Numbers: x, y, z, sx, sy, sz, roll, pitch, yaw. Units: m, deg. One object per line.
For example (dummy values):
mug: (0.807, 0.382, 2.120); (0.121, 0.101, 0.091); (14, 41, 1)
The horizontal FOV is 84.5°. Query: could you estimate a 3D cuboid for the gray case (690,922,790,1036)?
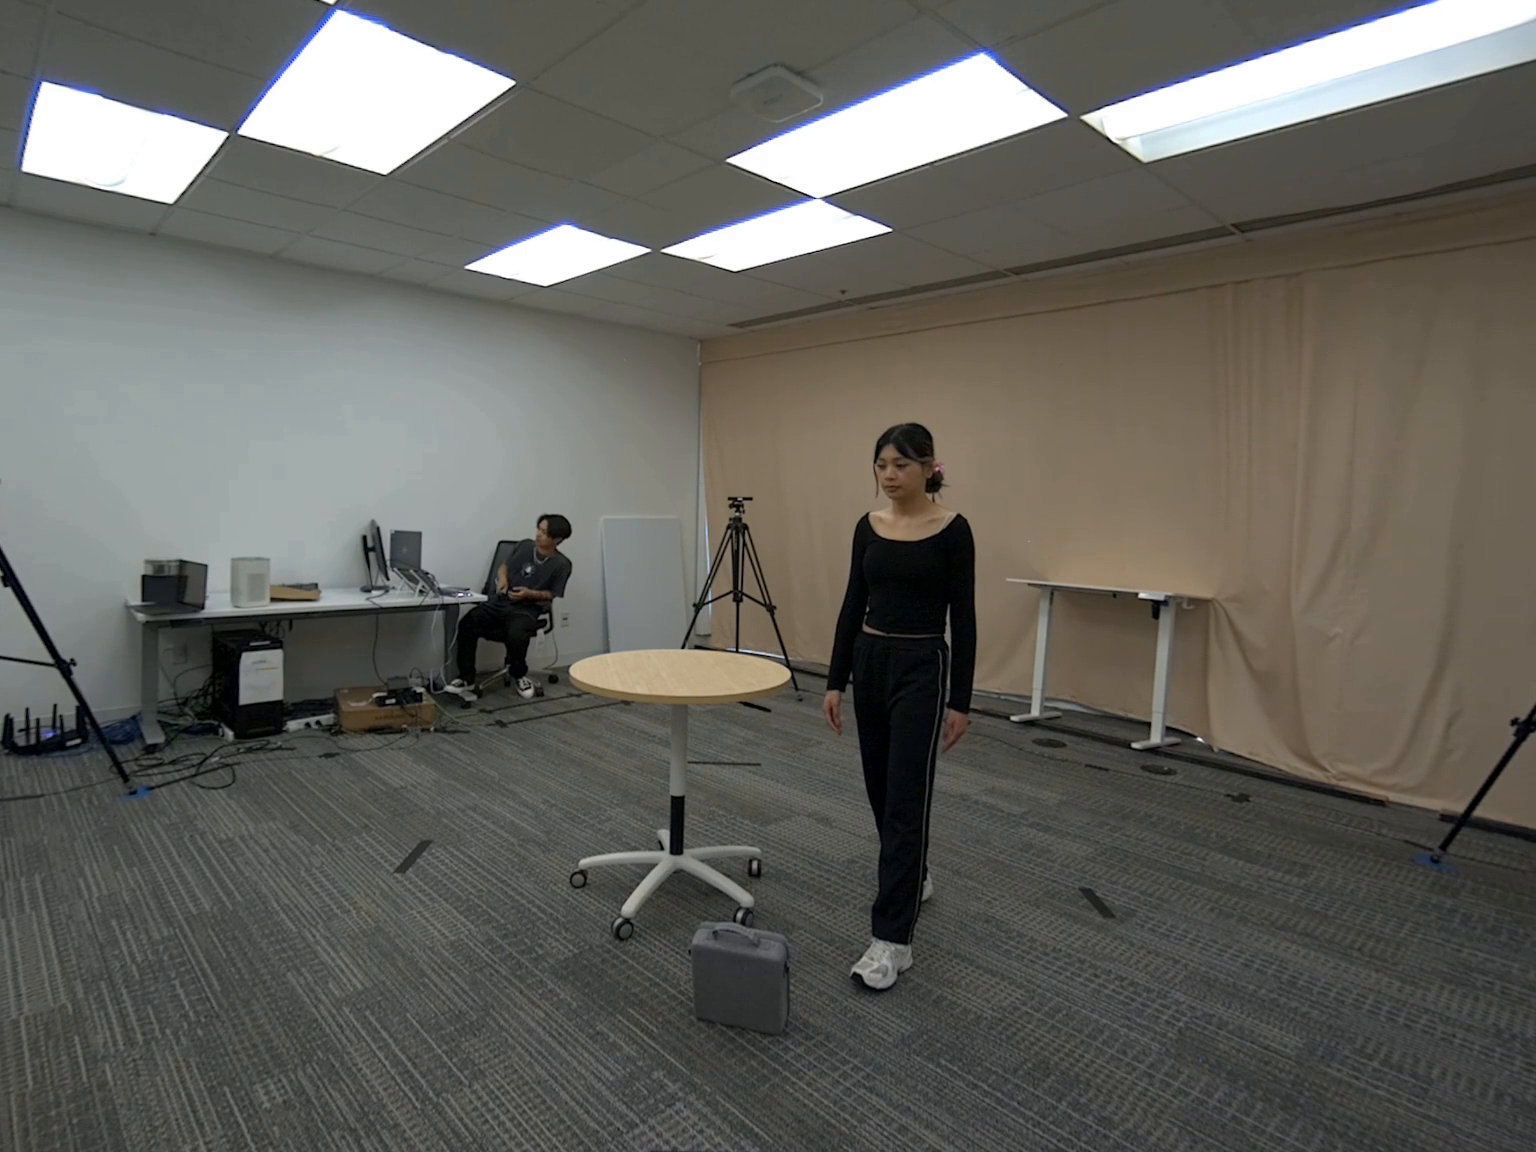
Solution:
gray case: (-0.074, 1.060, 2.224); (0.260, 0.258, 0.104); (2, 14, 16)
